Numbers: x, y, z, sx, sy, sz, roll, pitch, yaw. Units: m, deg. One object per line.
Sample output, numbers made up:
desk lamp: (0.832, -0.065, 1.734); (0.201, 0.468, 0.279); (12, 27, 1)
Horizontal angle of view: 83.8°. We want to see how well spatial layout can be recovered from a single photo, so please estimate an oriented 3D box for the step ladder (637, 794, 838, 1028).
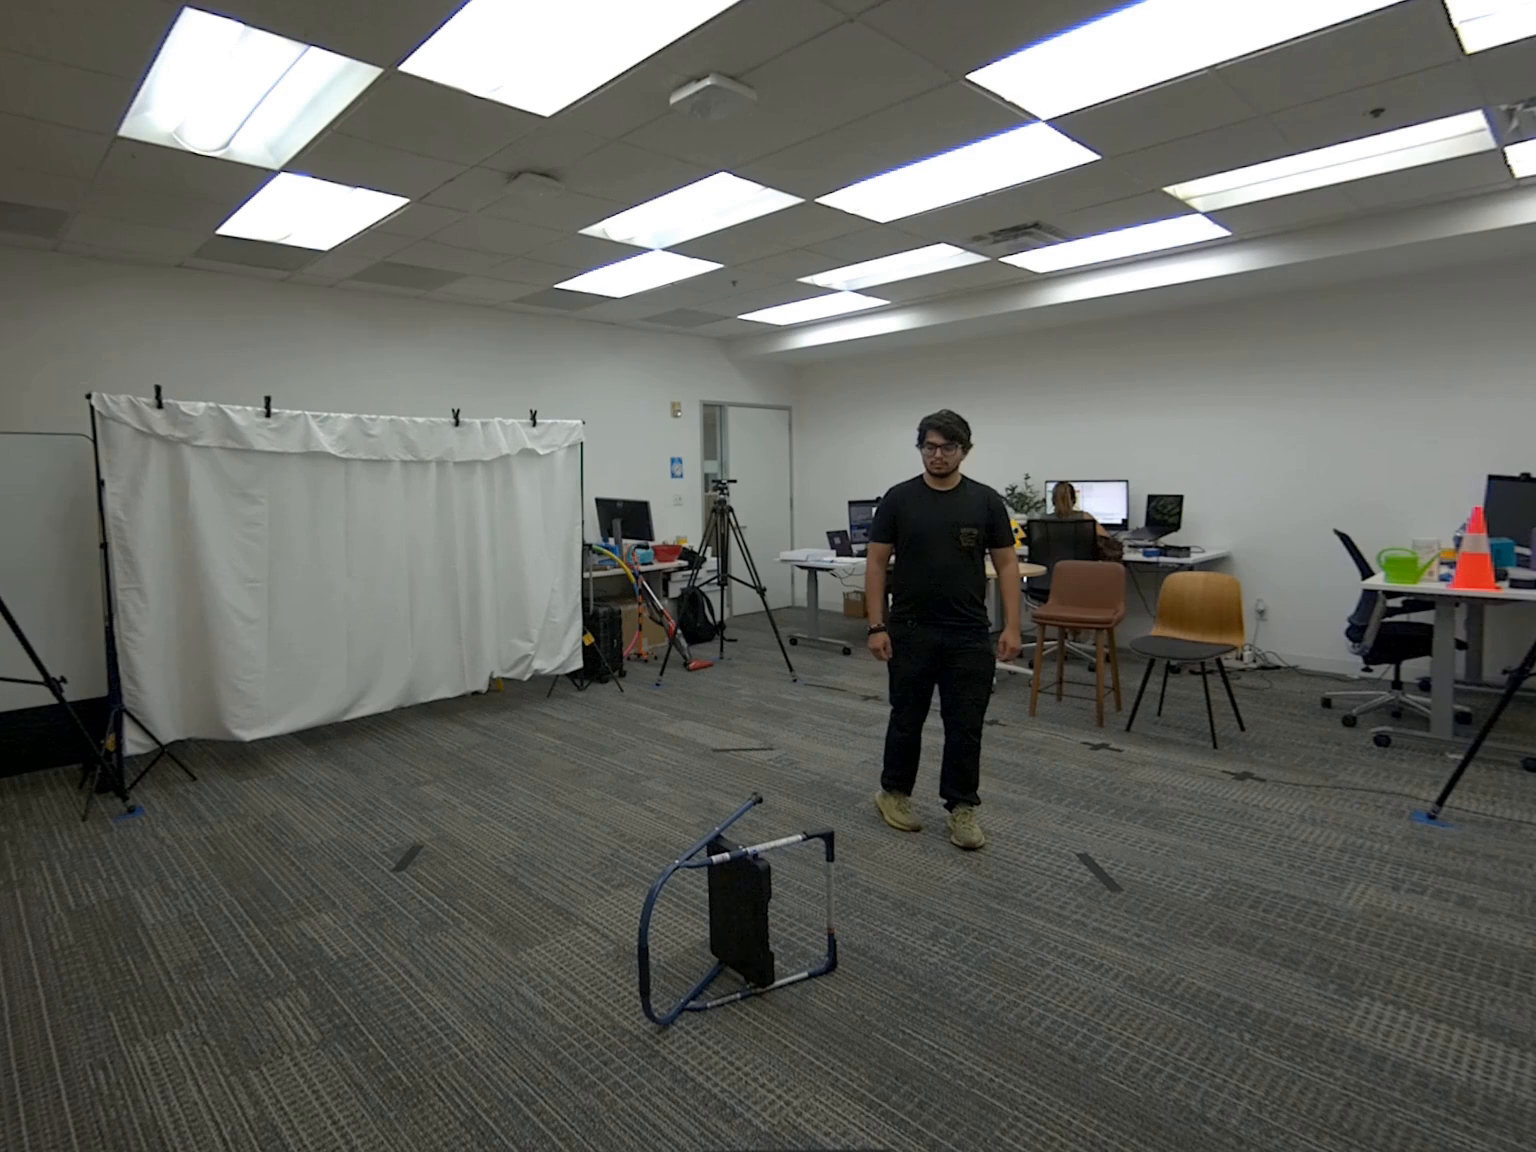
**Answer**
step ladder: (-0.133, 0.929, 2.354); (0.591, 0.428, 0.360); (-8, 8, -41)
